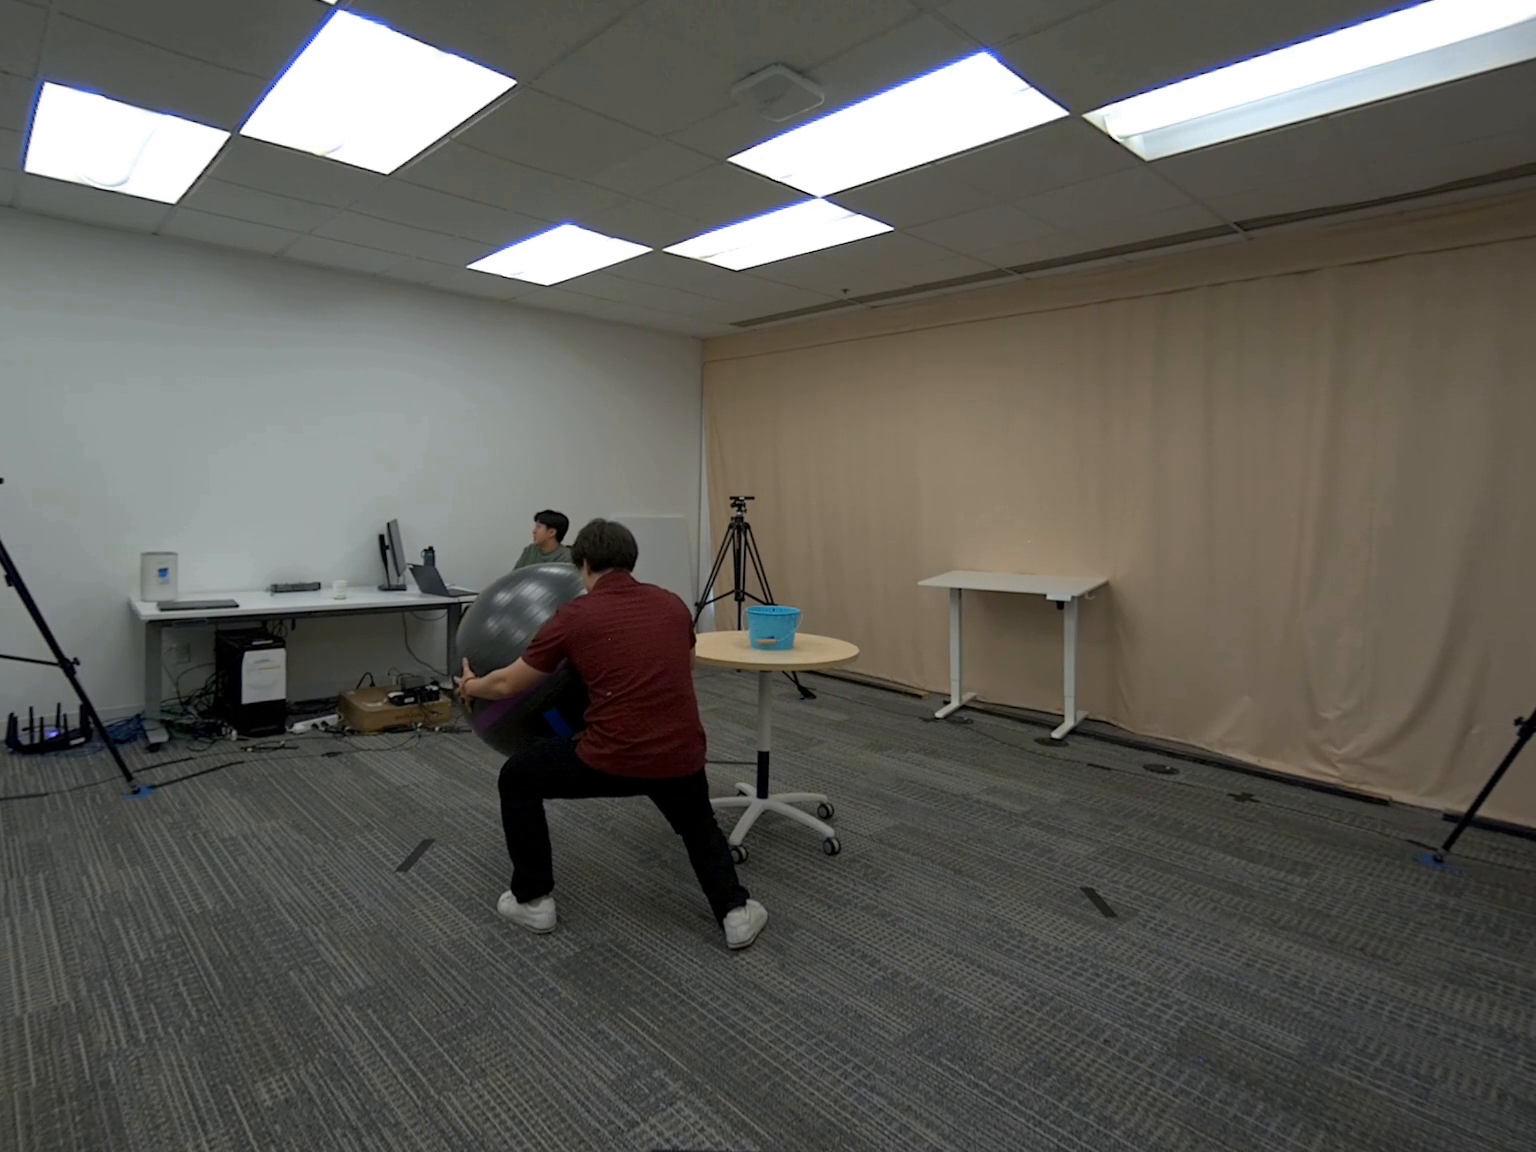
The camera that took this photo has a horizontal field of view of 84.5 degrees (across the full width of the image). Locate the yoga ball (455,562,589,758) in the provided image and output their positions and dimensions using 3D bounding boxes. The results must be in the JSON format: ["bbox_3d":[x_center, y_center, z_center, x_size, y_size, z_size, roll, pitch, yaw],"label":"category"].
[{"bbox_3d":[-0.840,0.342,3.212,0.757,0.756,0.761,1,4,-1],"label":"yoga ball"}]
